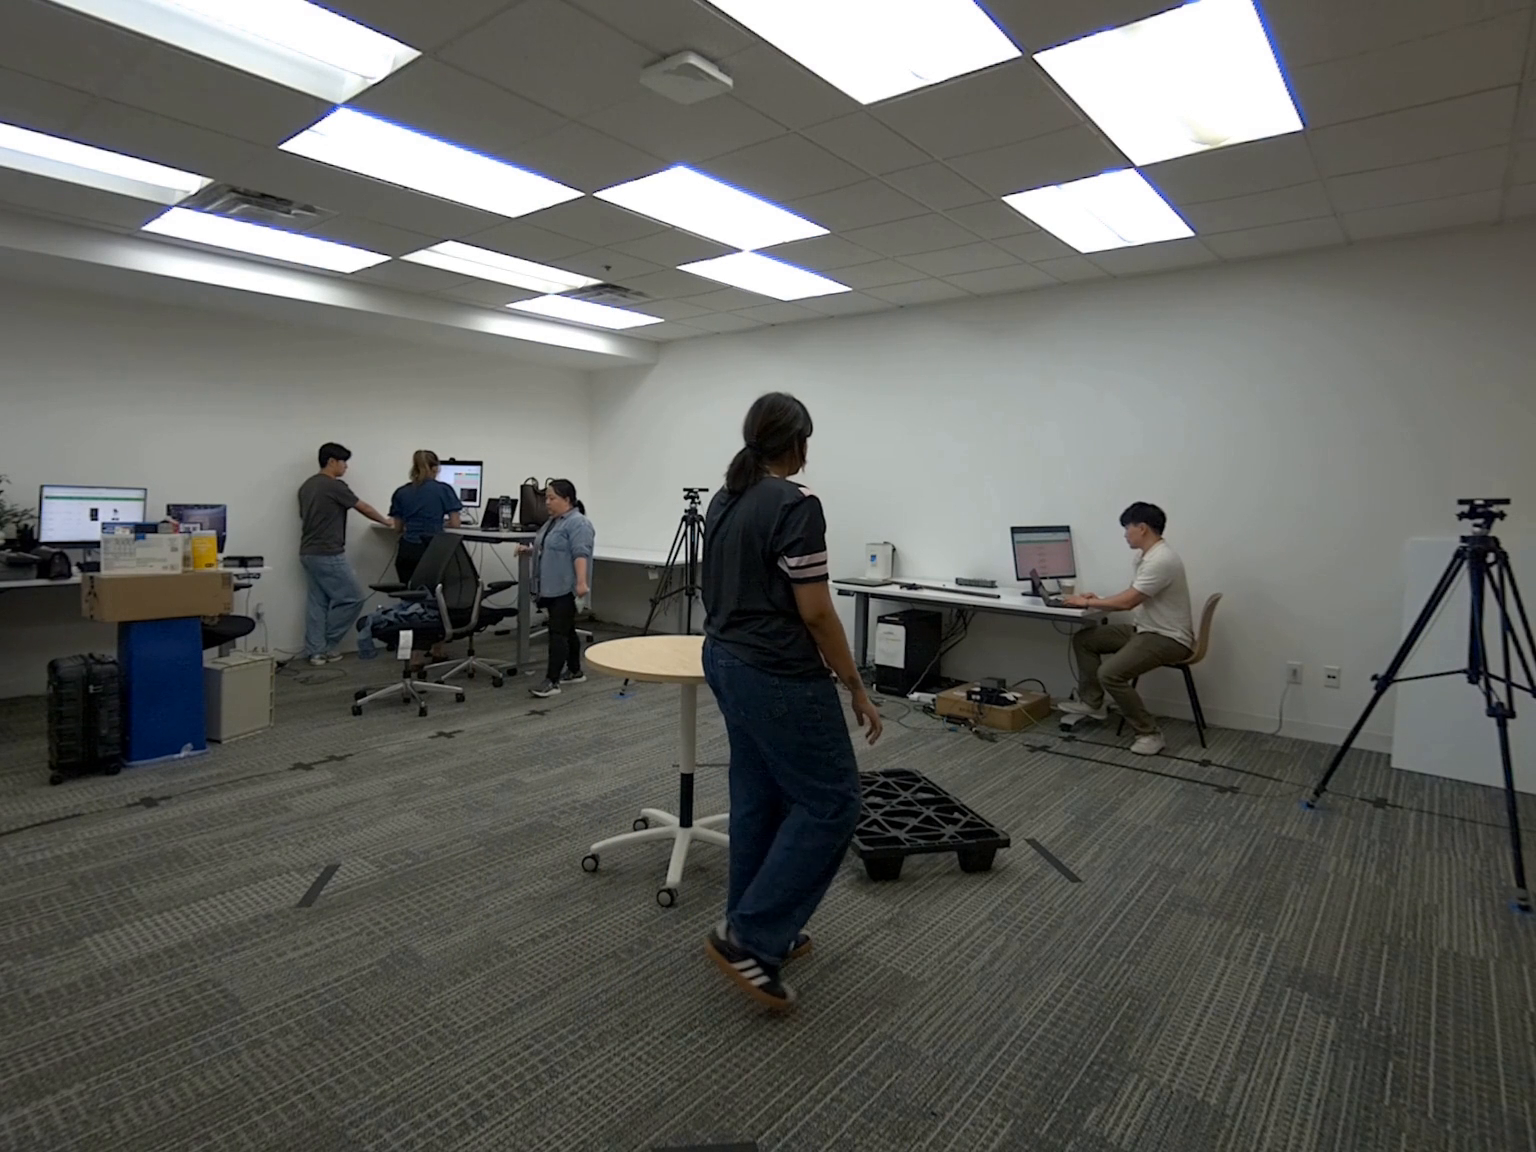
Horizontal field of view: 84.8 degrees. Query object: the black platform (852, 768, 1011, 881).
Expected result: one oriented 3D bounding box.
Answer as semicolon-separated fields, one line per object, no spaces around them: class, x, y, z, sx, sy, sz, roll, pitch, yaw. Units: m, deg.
black platform;0.489;0.984;3.446;0.596;0.143;0.821;-1;6;-16
